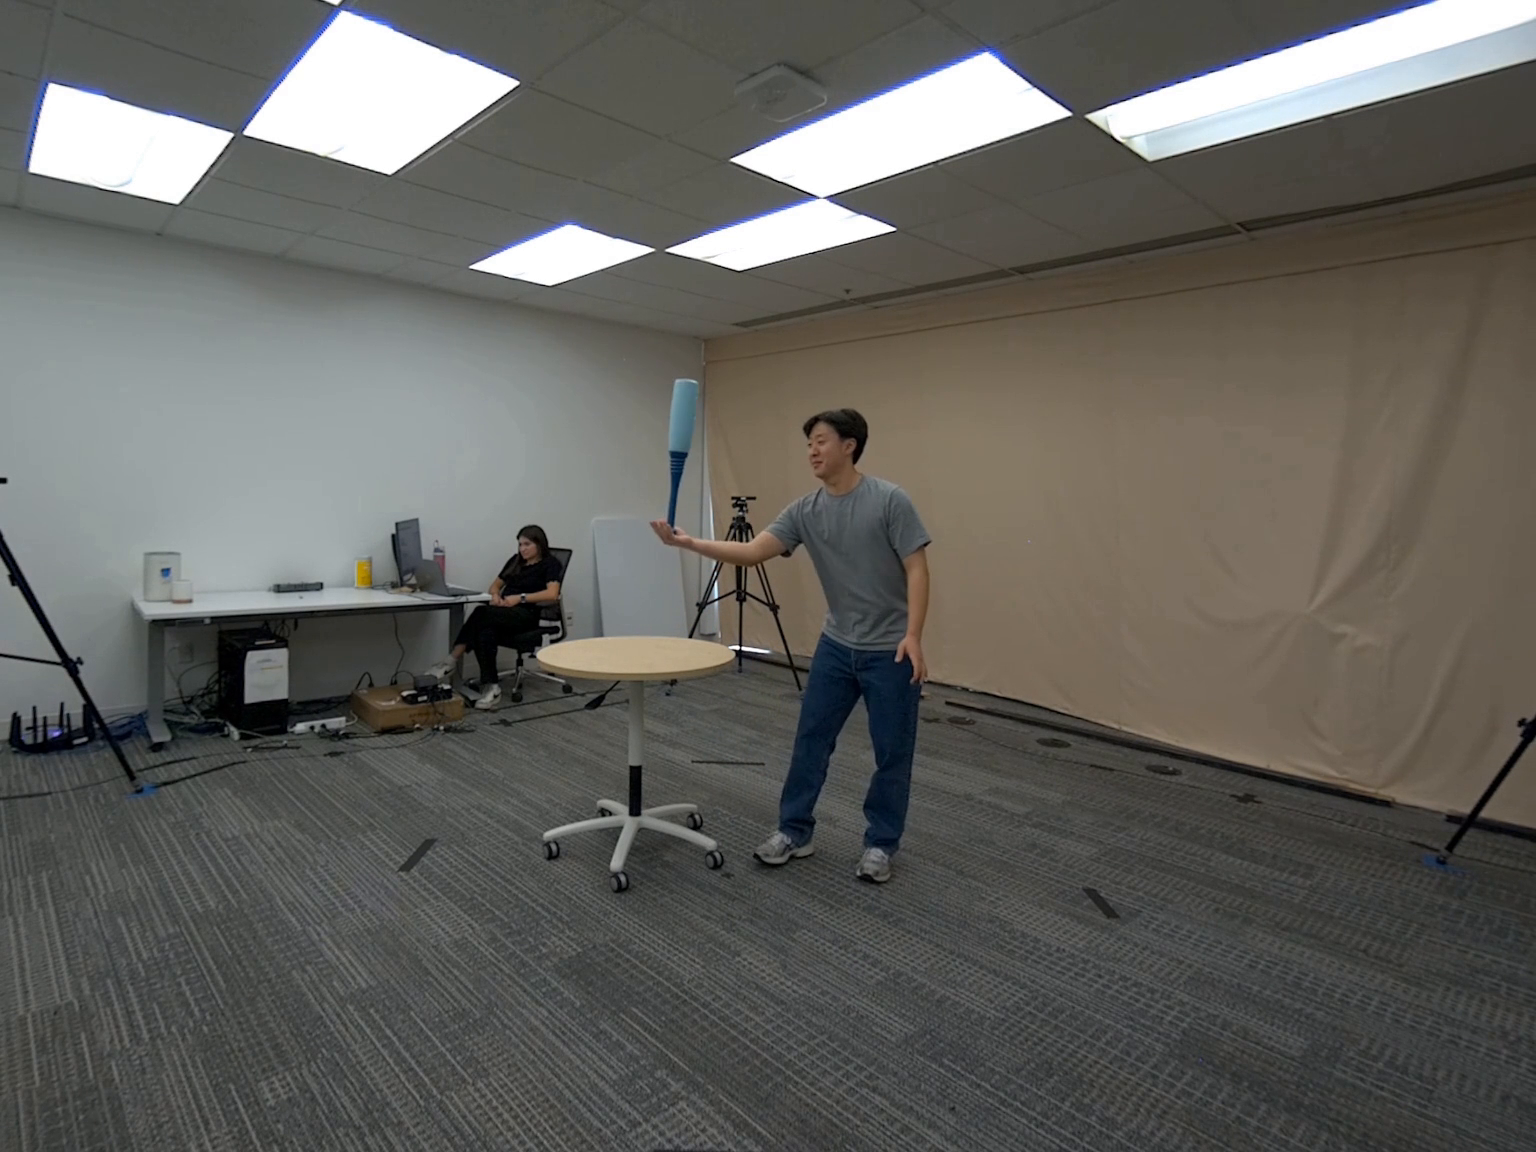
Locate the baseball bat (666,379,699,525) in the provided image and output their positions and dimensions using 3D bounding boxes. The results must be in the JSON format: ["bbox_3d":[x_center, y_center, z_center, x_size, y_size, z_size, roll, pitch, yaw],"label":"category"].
[{"bbox_3d":[-0.310,-0.404,2.920,0.089,0.542,0.089,5,2,-2],"label":"baseball bat"}]
